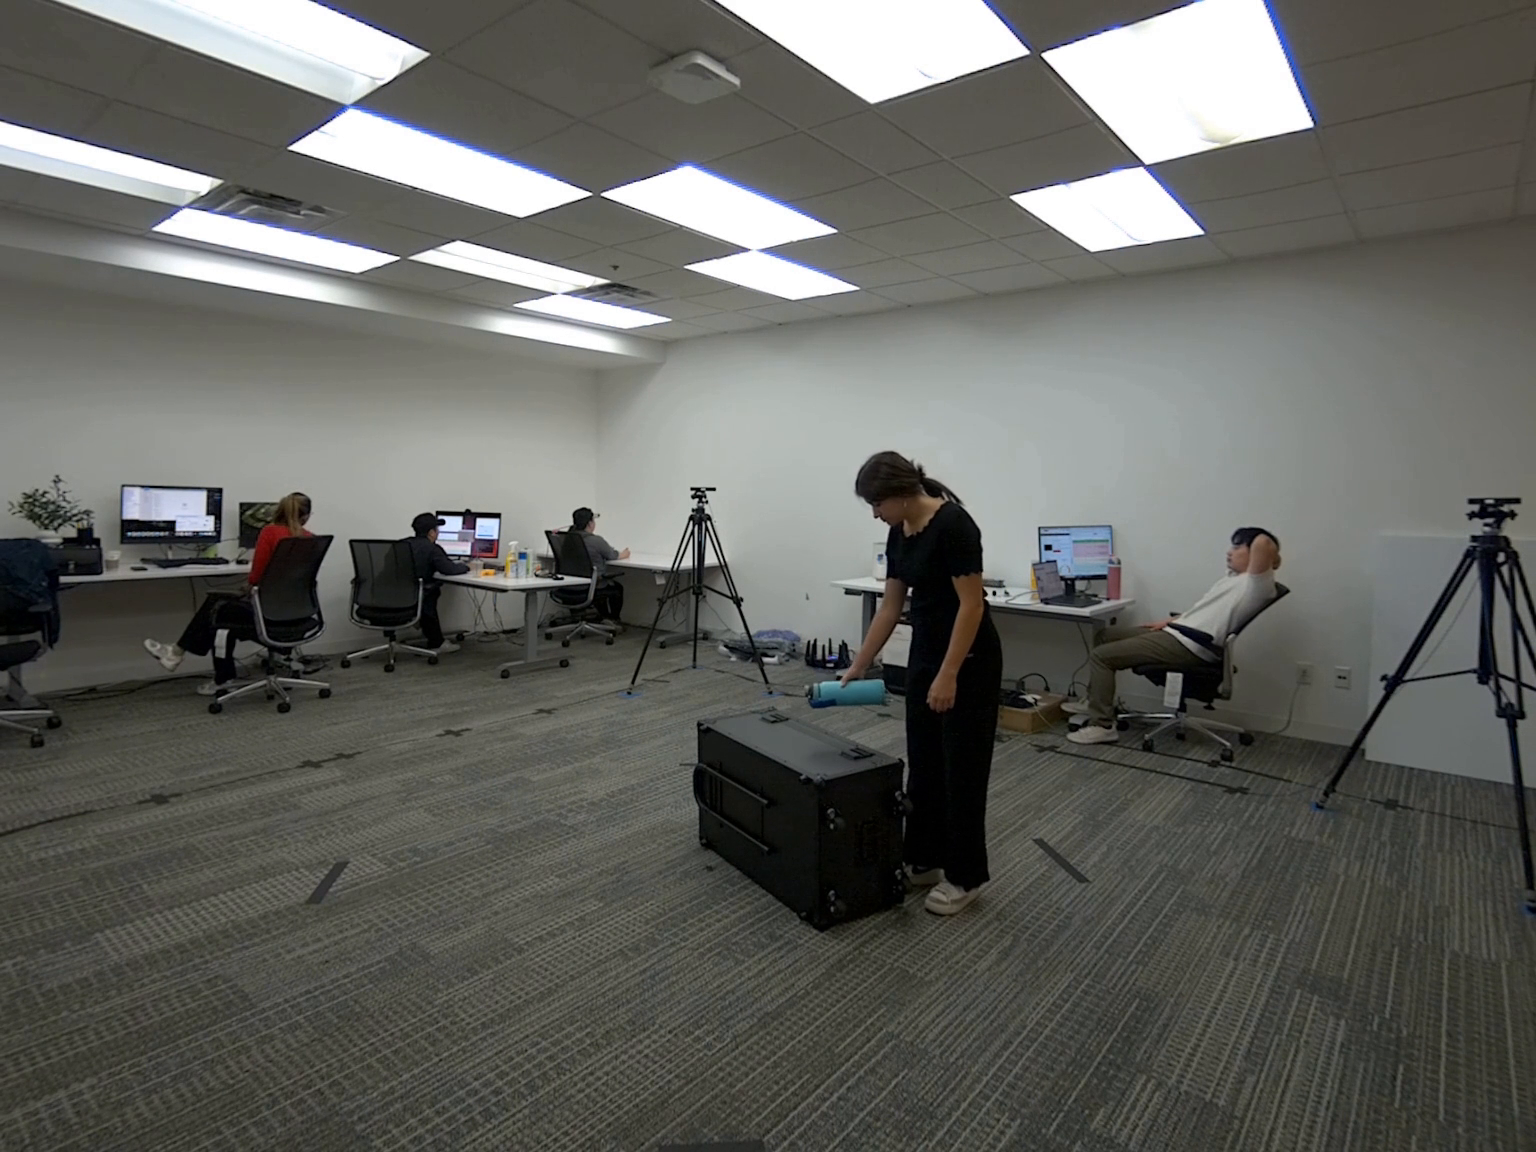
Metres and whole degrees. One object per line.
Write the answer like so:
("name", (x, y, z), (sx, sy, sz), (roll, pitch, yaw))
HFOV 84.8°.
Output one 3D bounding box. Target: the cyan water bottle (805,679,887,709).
("cyan water bottle", (0.278, 0.424, 3.062), (0.284, 0.092, 0.092), (-3, 4, 2))
